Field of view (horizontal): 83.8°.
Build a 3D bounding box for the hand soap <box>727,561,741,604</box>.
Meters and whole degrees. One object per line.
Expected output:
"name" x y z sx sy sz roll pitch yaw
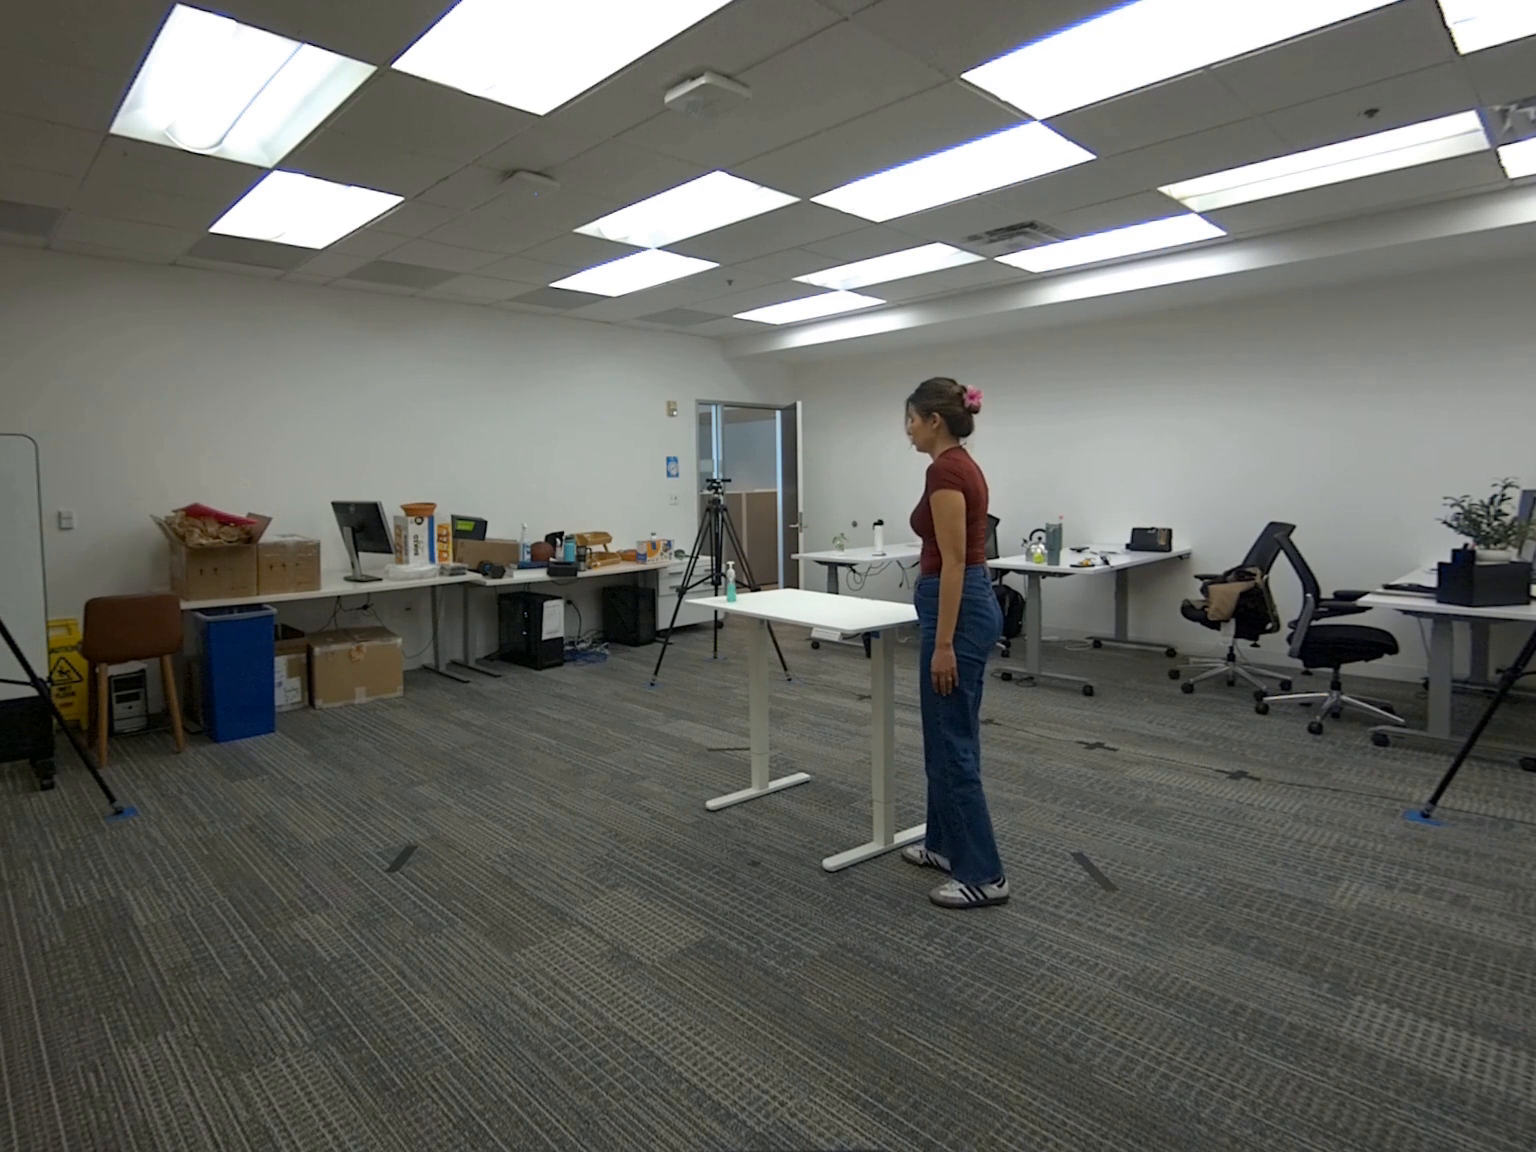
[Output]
"hand soap" -0.147 0.024 3.618 0.043 0.168 0.085 -3 3 0
